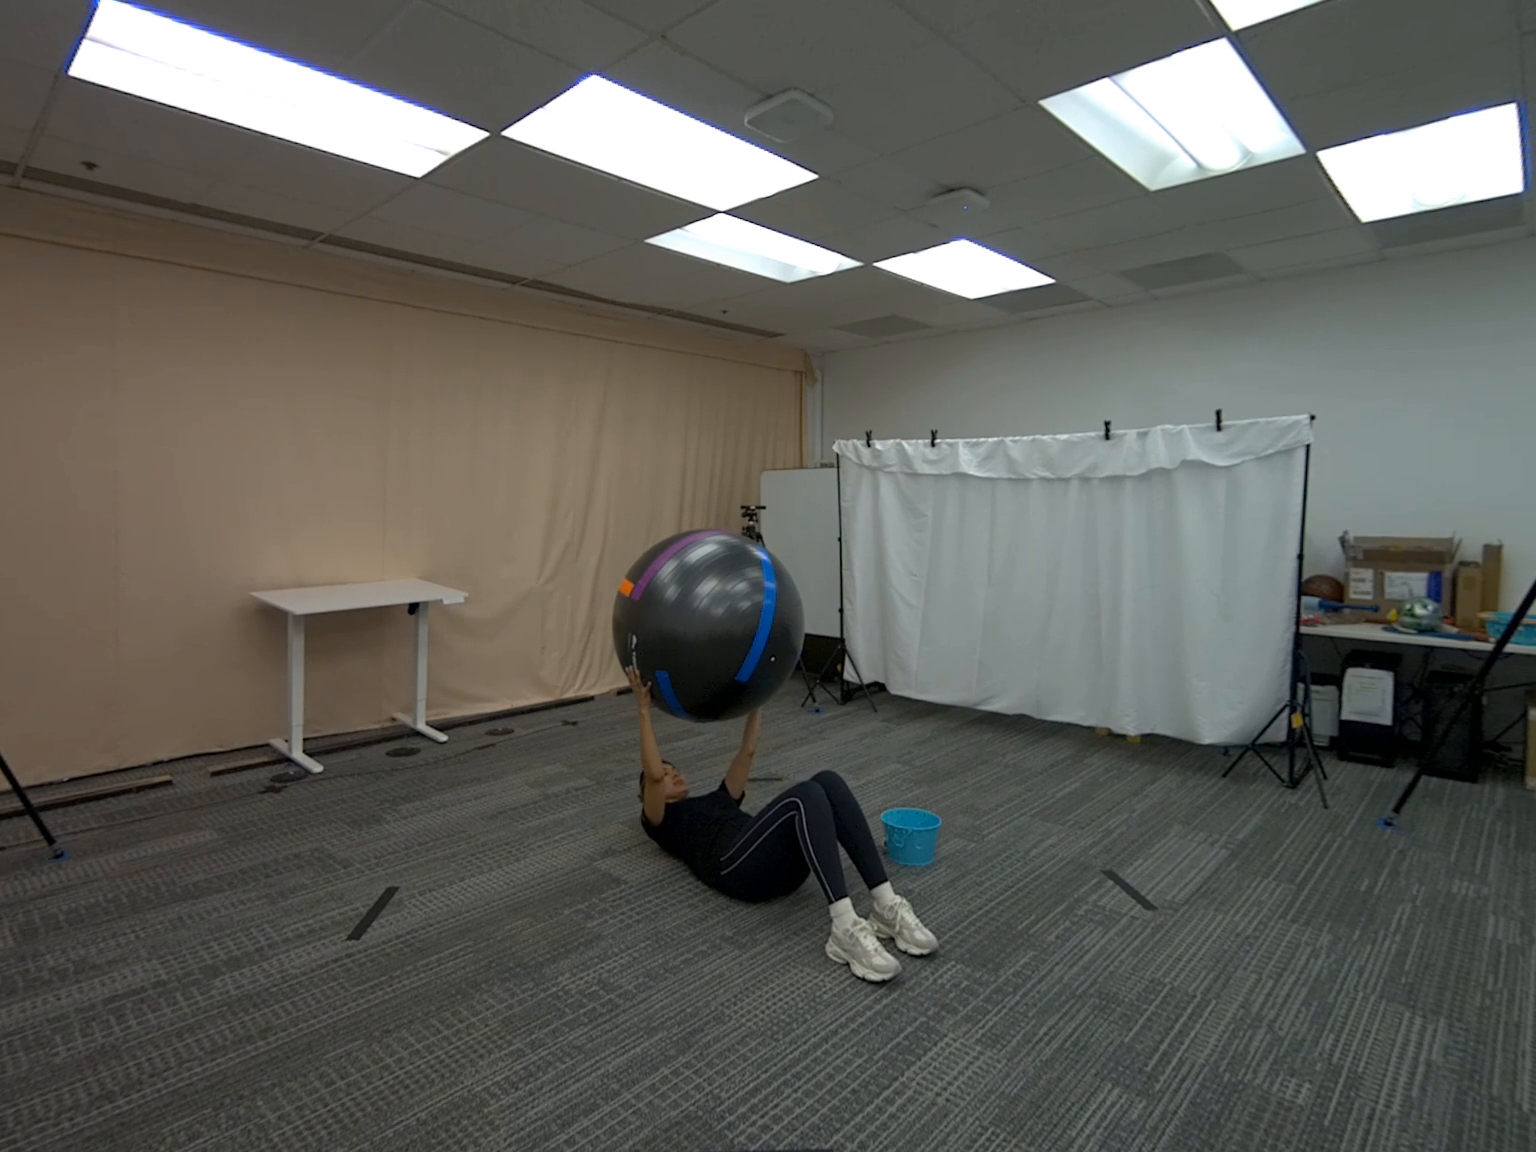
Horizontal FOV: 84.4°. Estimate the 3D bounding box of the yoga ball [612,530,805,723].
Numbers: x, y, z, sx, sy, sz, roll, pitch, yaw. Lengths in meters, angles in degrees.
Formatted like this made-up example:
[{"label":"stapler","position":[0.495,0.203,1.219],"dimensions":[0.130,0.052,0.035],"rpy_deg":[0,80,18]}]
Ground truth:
[{"label":"yoga ball","position":[-0.227,0.200,3.329],"dimensions":[0.757,0.756,0.761],"rpy_deg":[3,5,-2]}]
